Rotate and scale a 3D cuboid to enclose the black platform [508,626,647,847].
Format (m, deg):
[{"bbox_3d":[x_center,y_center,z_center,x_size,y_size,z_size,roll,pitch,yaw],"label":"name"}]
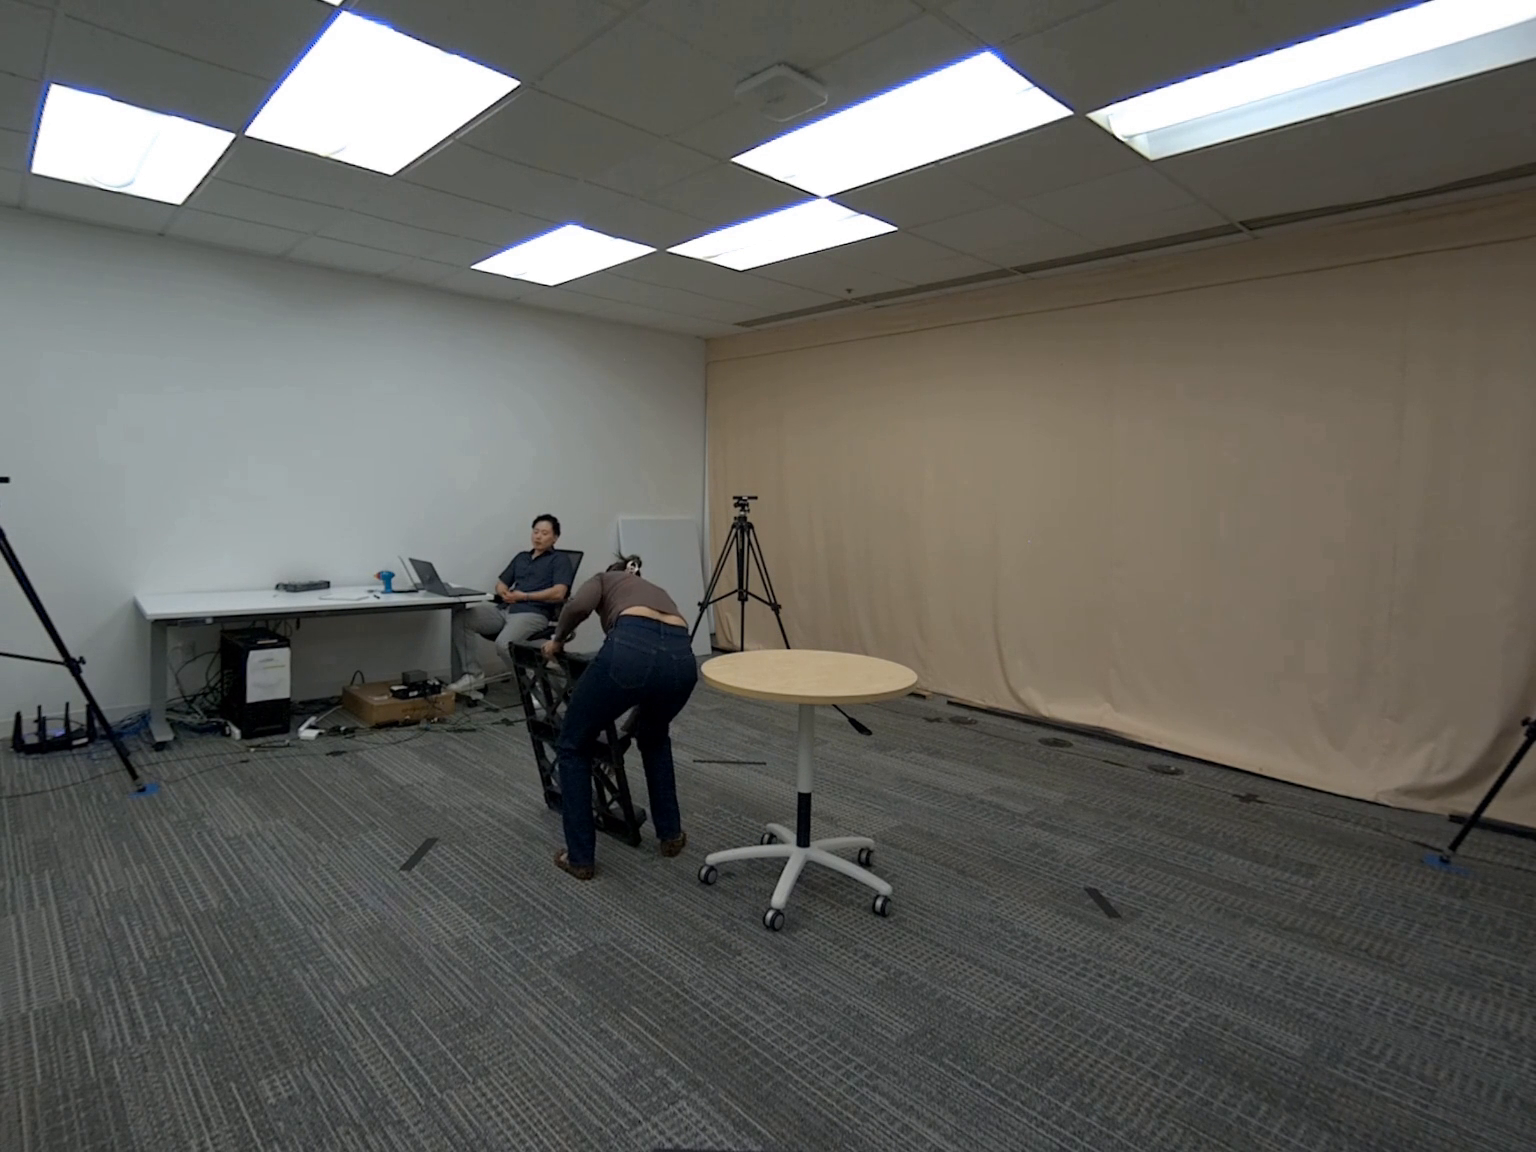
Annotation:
[{"bbox_3d":[-0.777,0.651,3.471,0.620,0.795,0.141,5,20,41],"label":"black platform"}]
